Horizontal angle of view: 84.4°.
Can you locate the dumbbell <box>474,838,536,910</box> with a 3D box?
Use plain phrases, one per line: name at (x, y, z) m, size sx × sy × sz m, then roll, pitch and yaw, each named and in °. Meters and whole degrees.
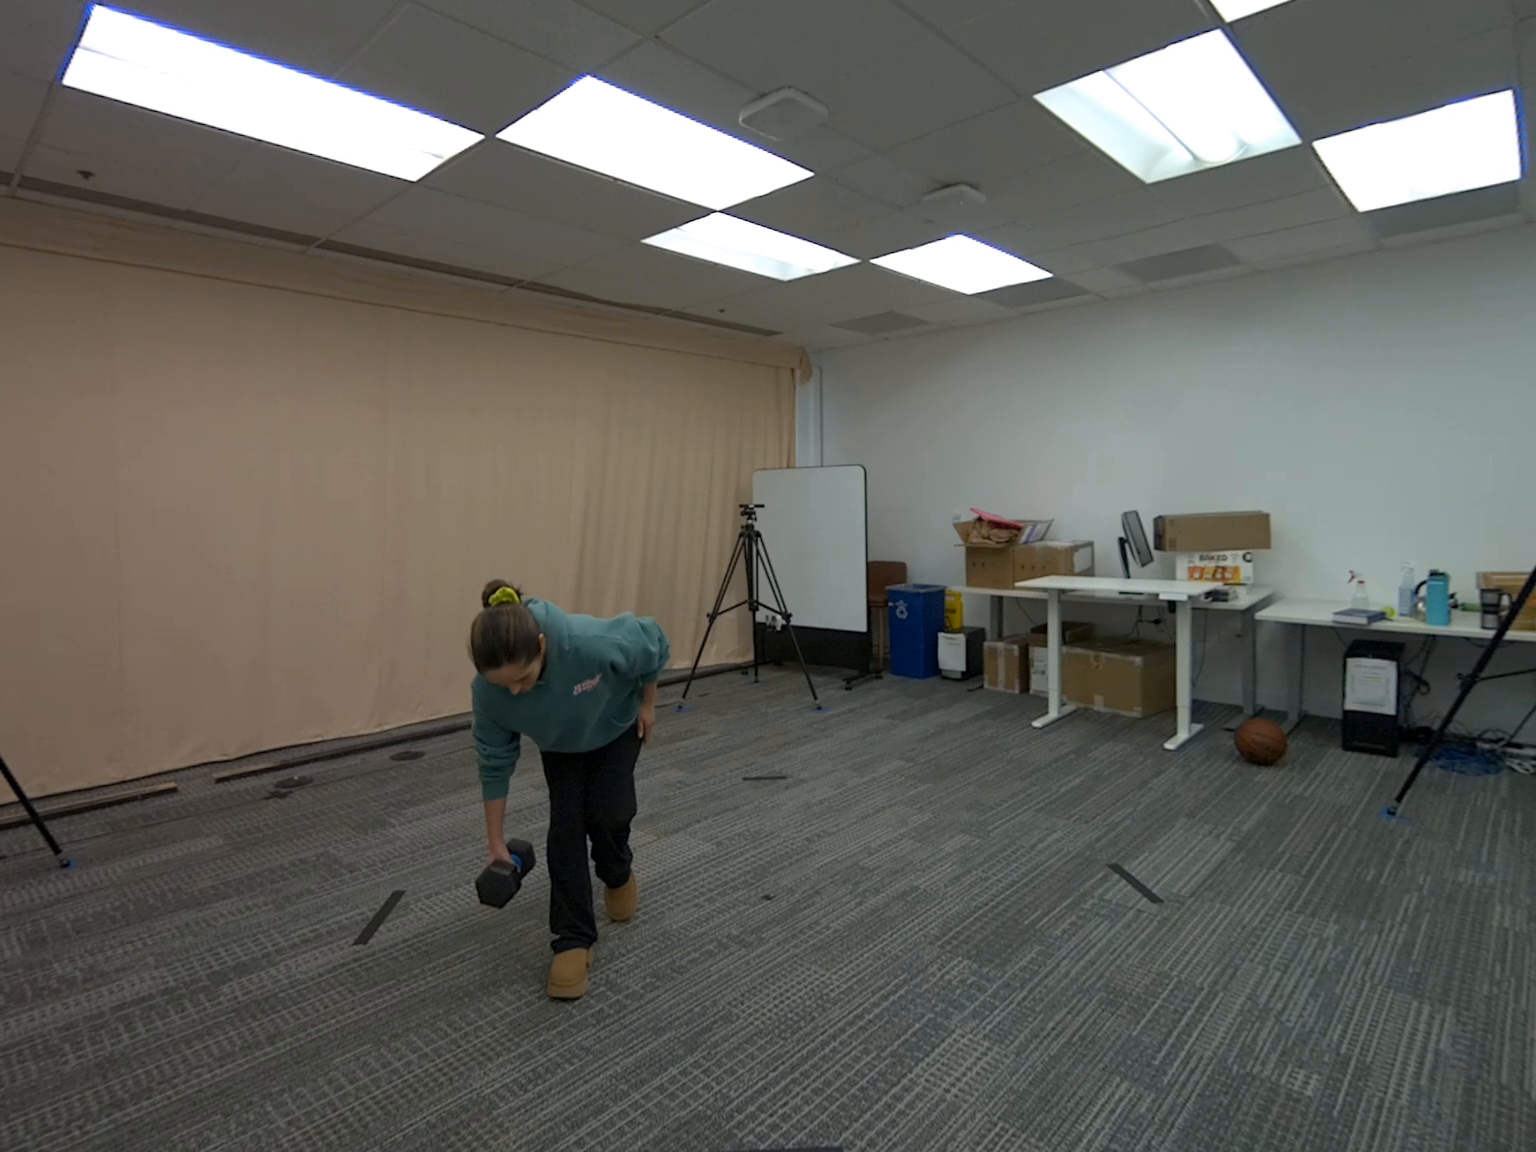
dumbbell at (-0.754, 0.866, 2.440) m, size 0.108 × 0.123 × 0.294 m, roll -15°, pitch 0°, yaw -4°
